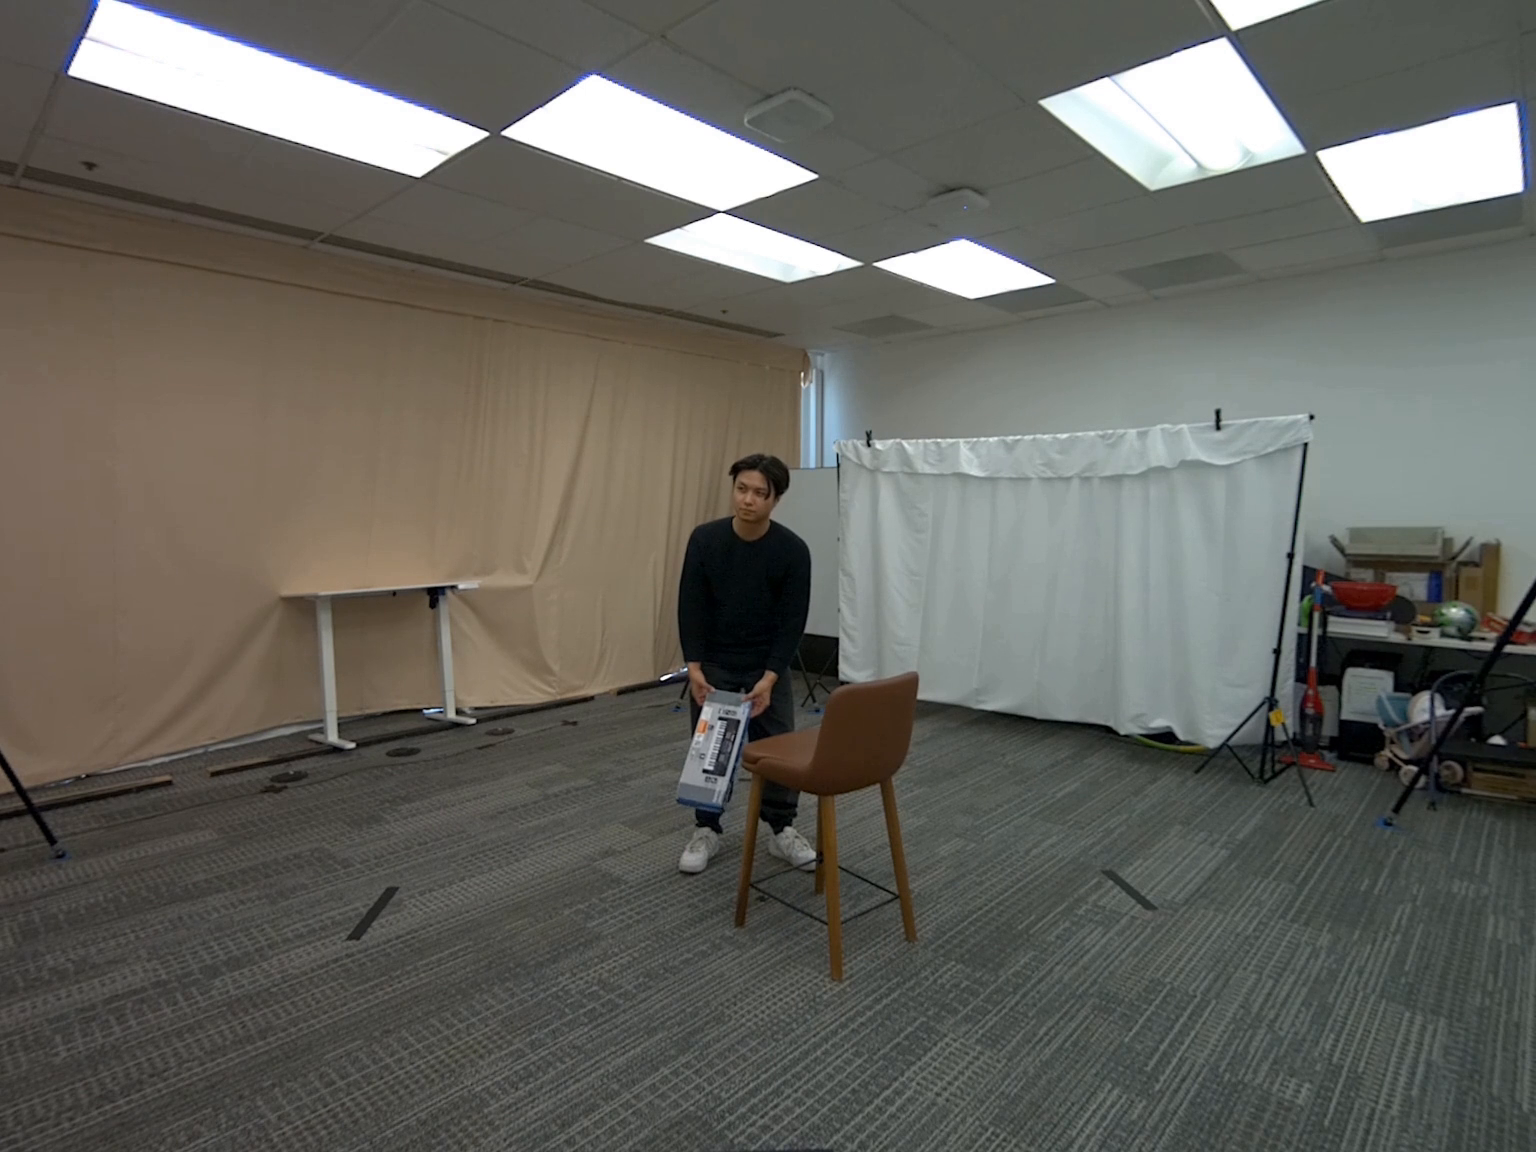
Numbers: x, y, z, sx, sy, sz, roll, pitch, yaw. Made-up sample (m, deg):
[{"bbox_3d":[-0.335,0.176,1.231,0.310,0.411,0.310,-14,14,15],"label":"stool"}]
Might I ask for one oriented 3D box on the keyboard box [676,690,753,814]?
[{"bbox_3d":[-0.183,0.611,3.018,0.179,0.440,0.058,7,-38,14],"label":"keyboard box"}]
